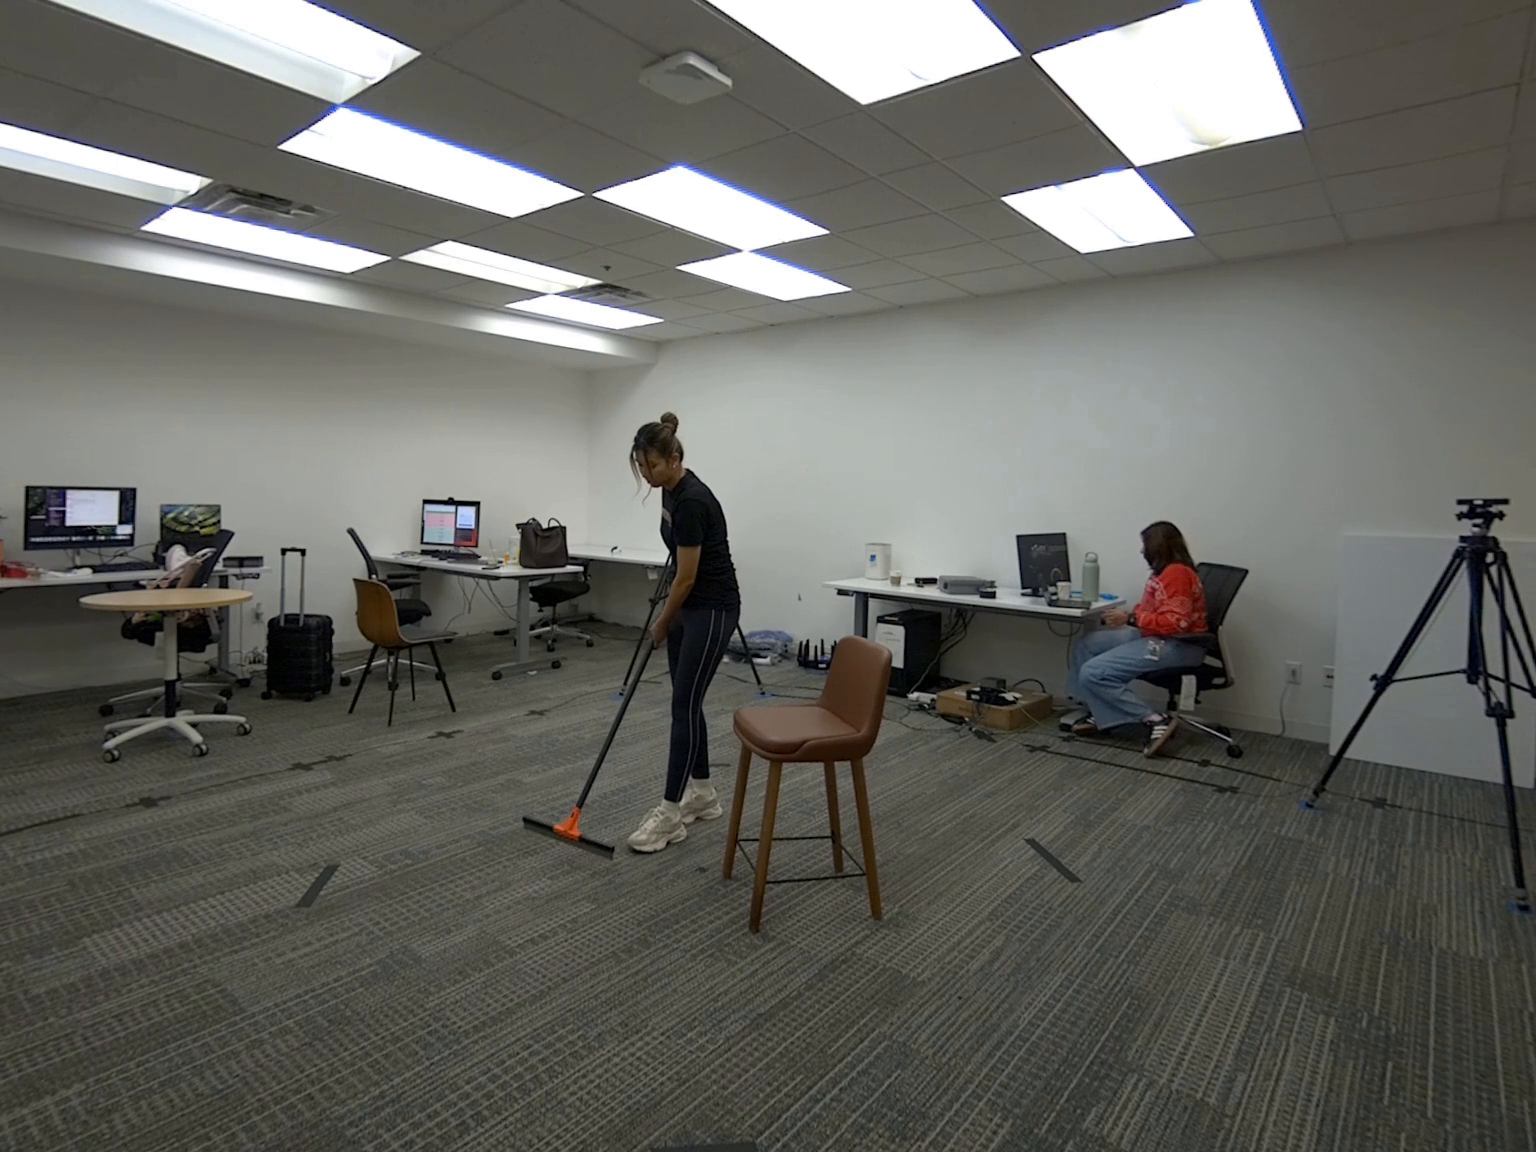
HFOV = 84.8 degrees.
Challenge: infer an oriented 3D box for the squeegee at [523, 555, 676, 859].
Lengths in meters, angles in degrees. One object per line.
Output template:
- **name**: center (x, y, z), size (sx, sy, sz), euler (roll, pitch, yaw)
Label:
- **squeegee**: center (-0.540, 0.345, 3.542), size (0.450, 1.557, 0.051), euler (4, -34, 27)
